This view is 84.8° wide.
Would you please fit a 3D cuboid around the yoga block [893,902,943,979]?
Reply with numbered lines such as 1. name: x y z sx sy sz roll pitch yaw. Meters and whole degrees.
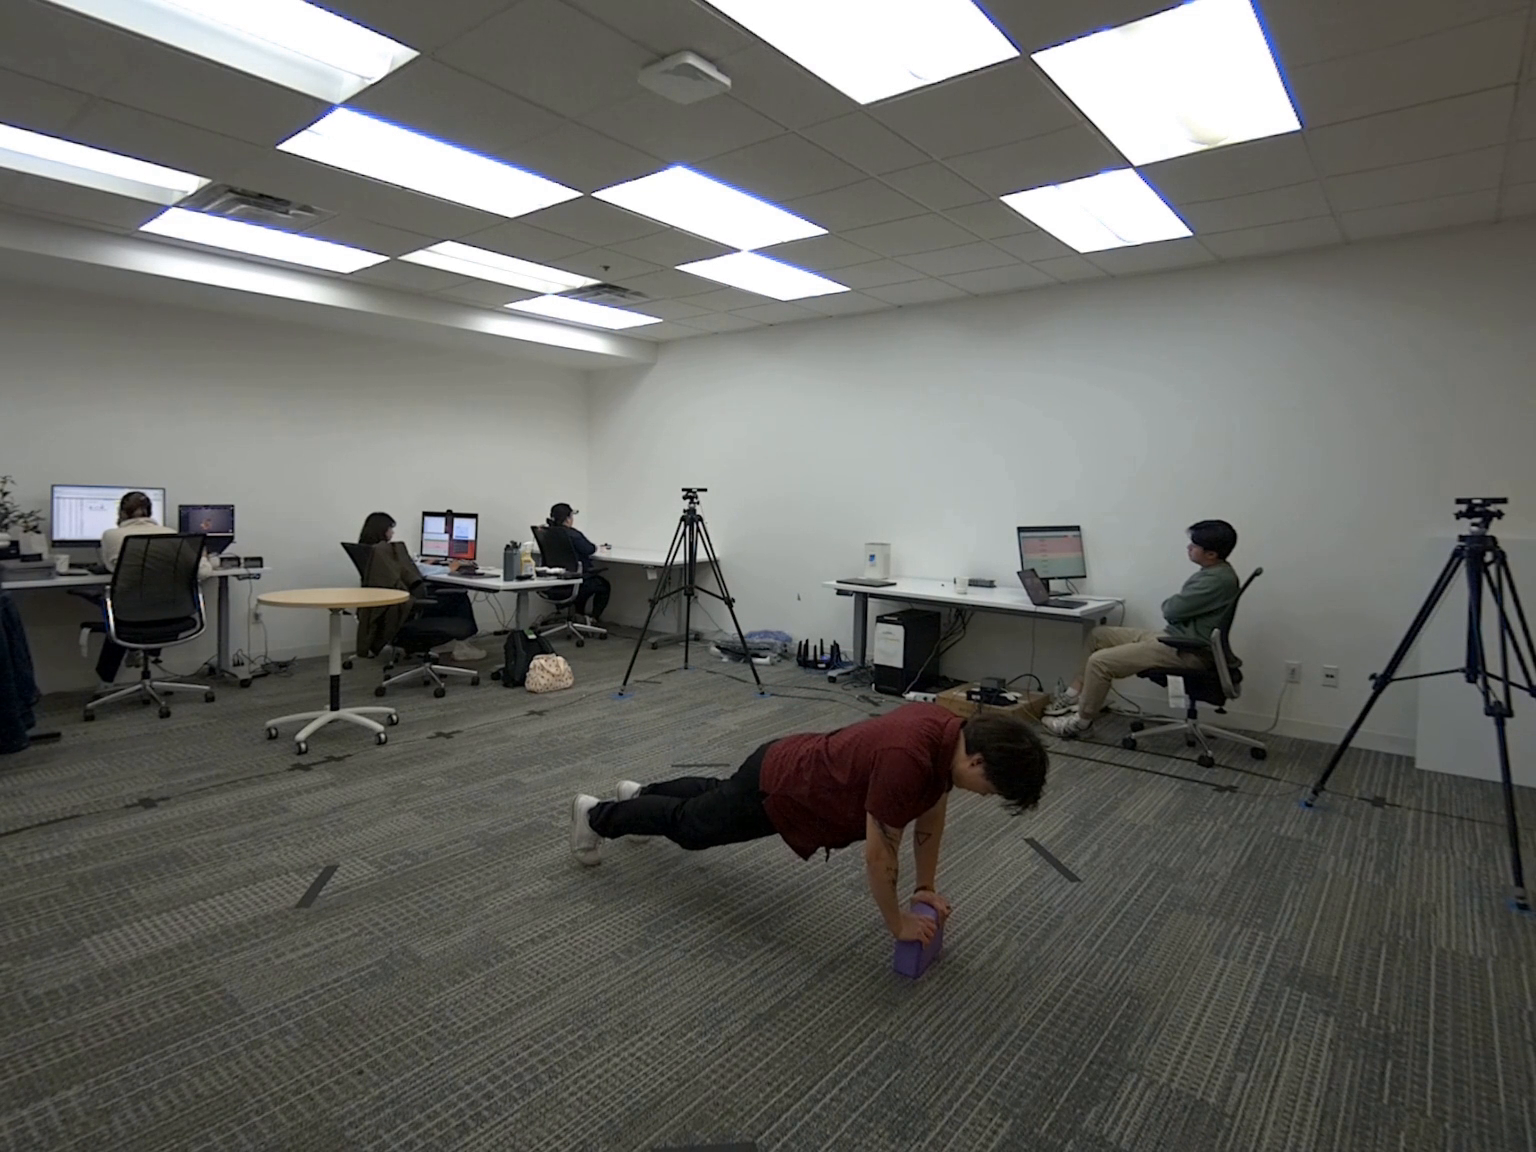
1. yoga block: 0.453 1.069 2.543 0.079 0.148 0.223 8 8 30
